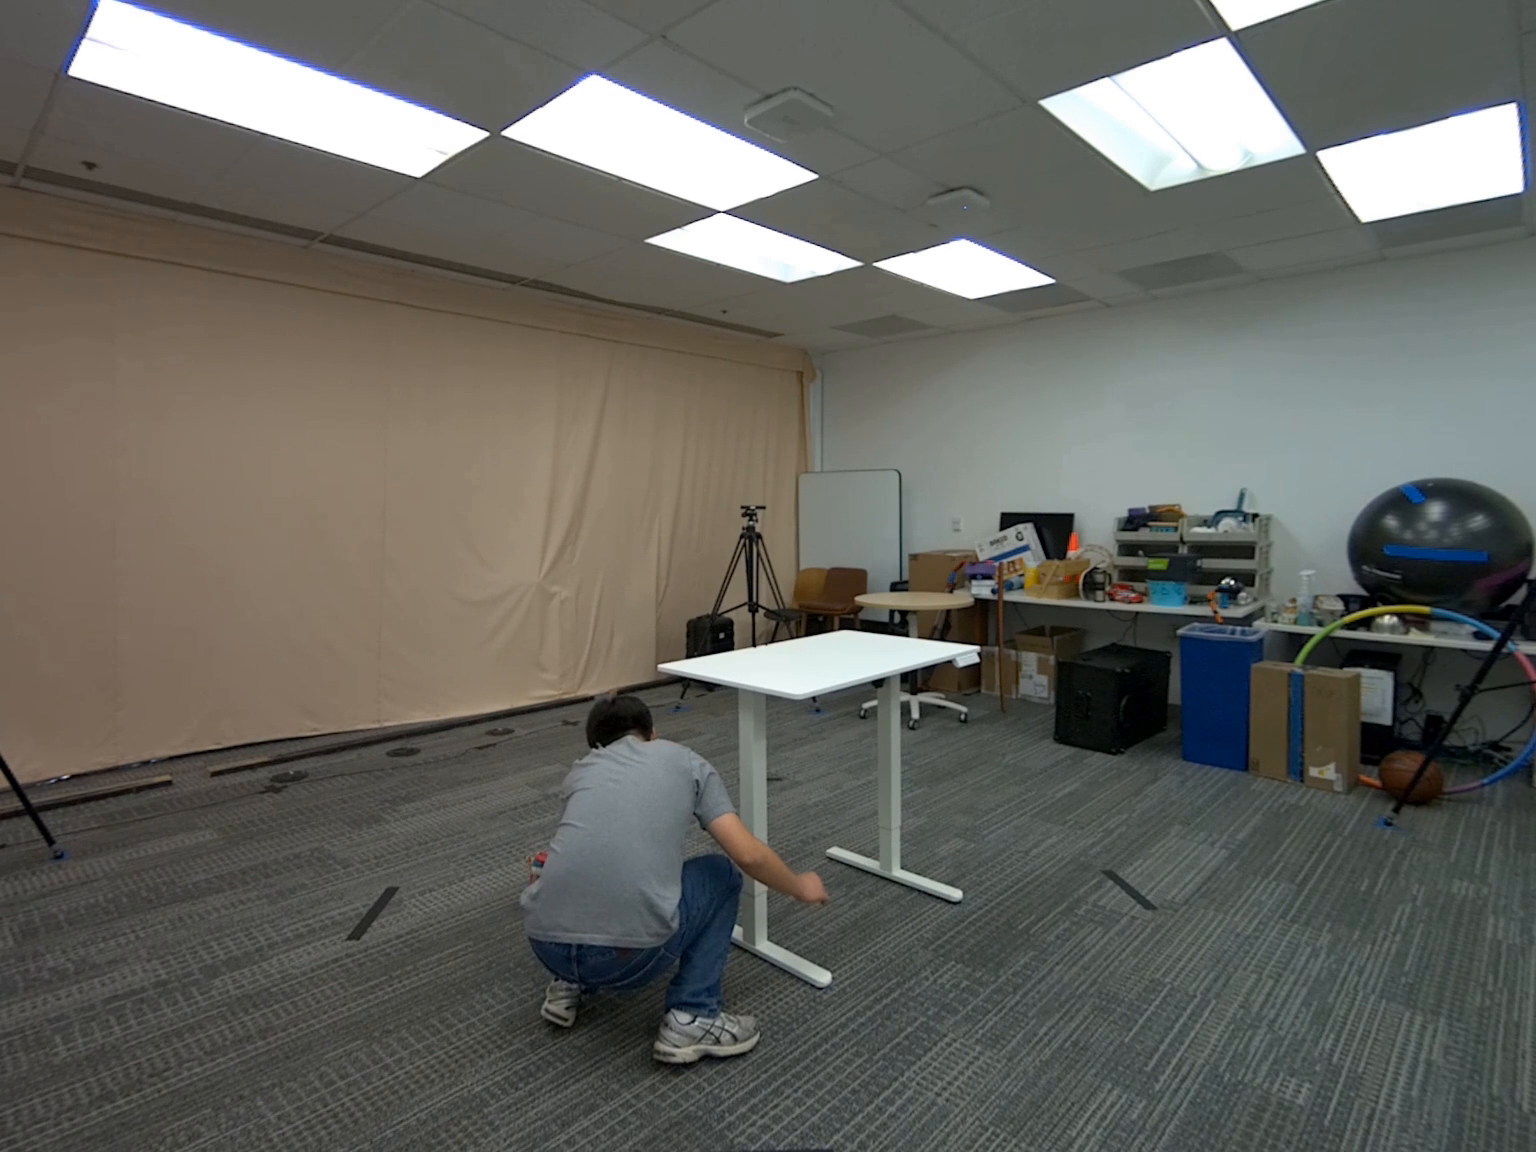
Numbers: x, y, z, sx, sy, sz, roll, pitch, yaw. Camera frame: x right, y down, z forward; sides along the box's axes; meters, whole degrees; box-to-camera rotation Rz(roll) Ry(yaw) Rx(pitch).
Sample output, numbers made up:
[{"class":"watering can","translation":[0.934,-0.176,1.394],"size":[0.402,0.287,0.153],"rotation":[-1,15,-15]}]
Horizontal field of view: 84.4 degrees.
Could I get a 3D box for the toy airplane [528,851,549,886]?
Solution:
[{"class":"toy airplane","translation":[-0.727,1.053,3.004],"size":[0.254,0.158,0.254],"rotation":[-5,-12,-23]}]
